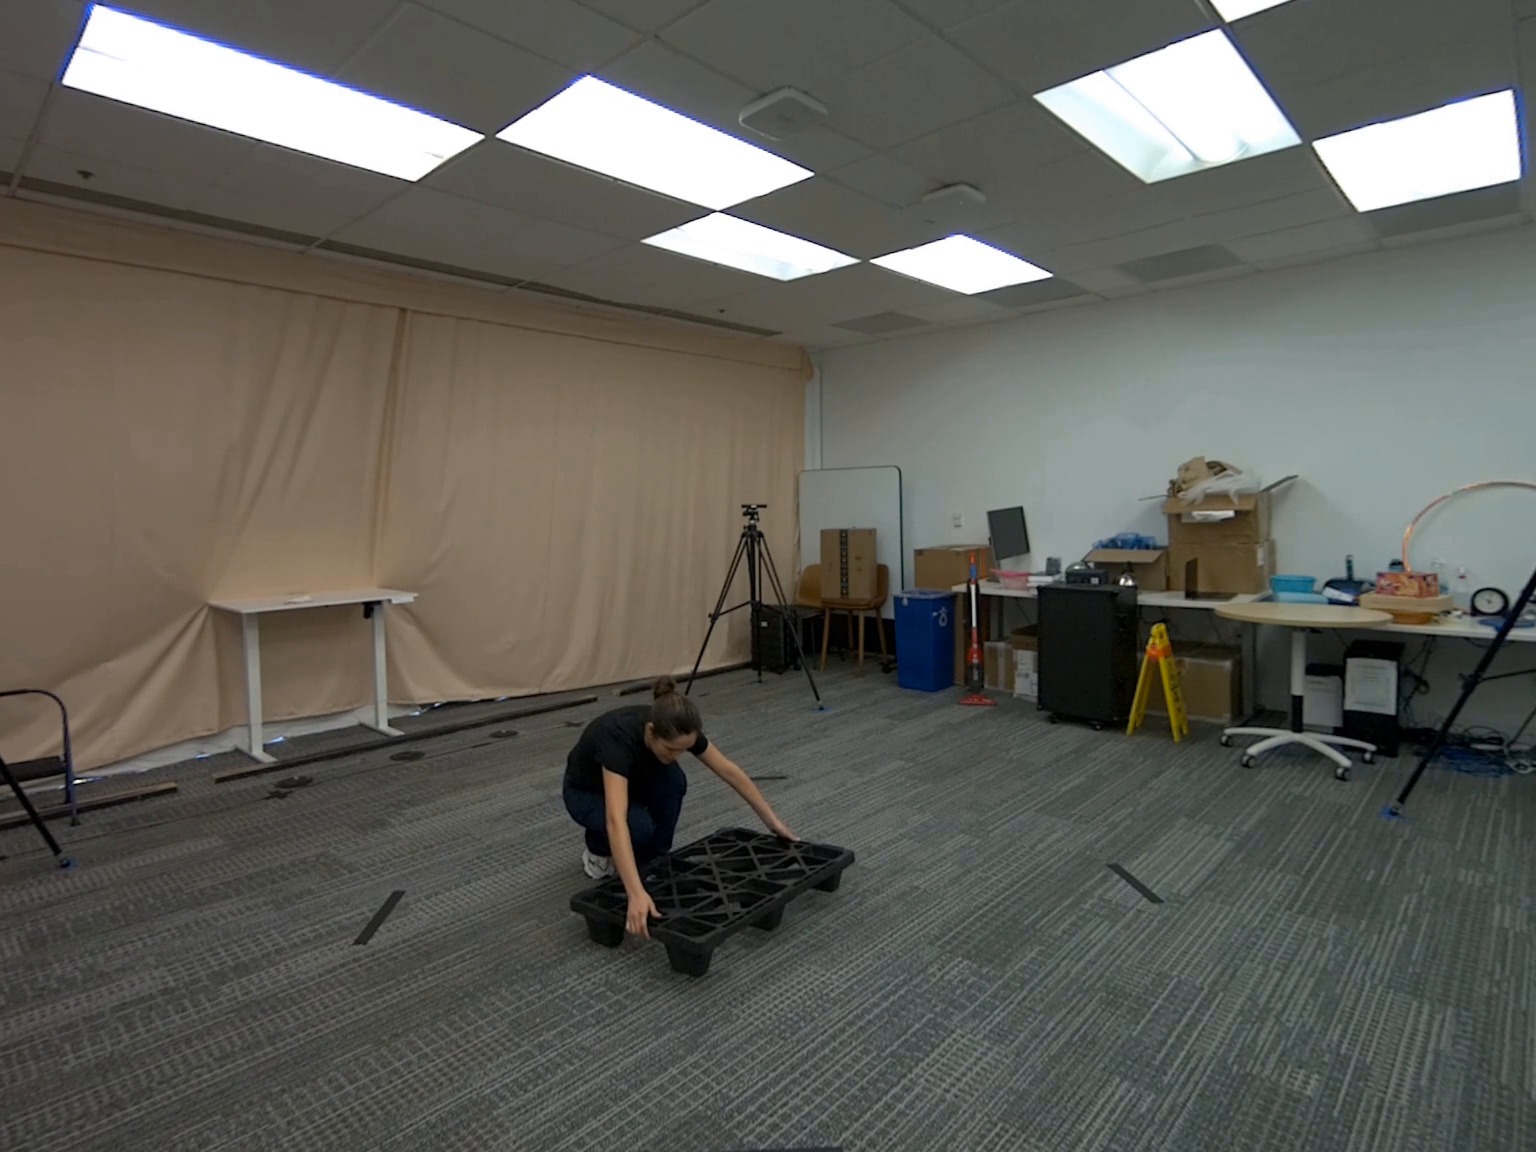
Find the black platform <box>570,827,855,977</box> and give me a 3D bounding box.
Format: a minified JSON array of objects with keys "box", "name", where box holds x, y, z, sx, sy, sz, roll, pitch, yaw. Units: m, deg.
[{"box":[-0.147,1.070,2.827,0.623,0.143,0.782,-5,2,40],"name":"black platform"}]
